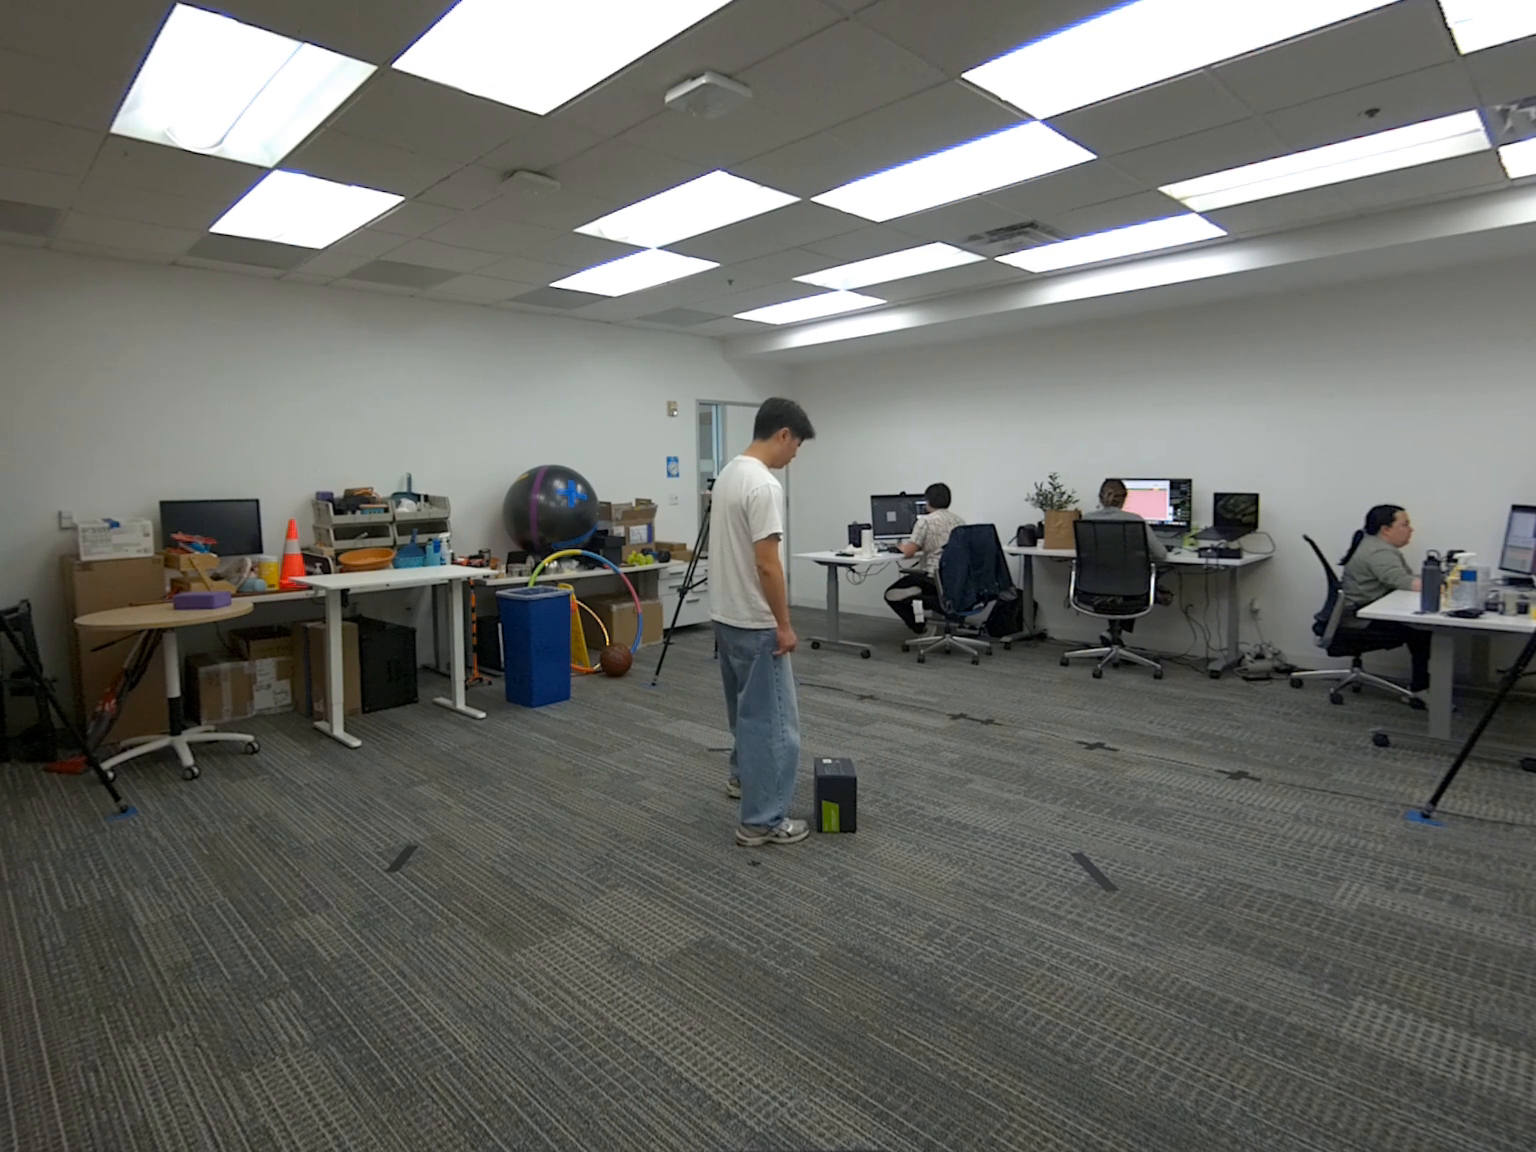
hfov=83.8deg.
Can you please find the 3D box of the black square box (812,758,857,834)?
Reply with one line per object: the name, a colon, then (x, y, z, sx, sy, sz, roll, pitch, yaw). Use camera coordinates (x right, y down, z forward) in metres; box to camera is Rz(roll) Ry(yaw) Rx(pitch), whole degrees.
black square box: (0.275, 0.880, 3.457, 0.156, 0.227, 0.218, -1, 5, 0)
